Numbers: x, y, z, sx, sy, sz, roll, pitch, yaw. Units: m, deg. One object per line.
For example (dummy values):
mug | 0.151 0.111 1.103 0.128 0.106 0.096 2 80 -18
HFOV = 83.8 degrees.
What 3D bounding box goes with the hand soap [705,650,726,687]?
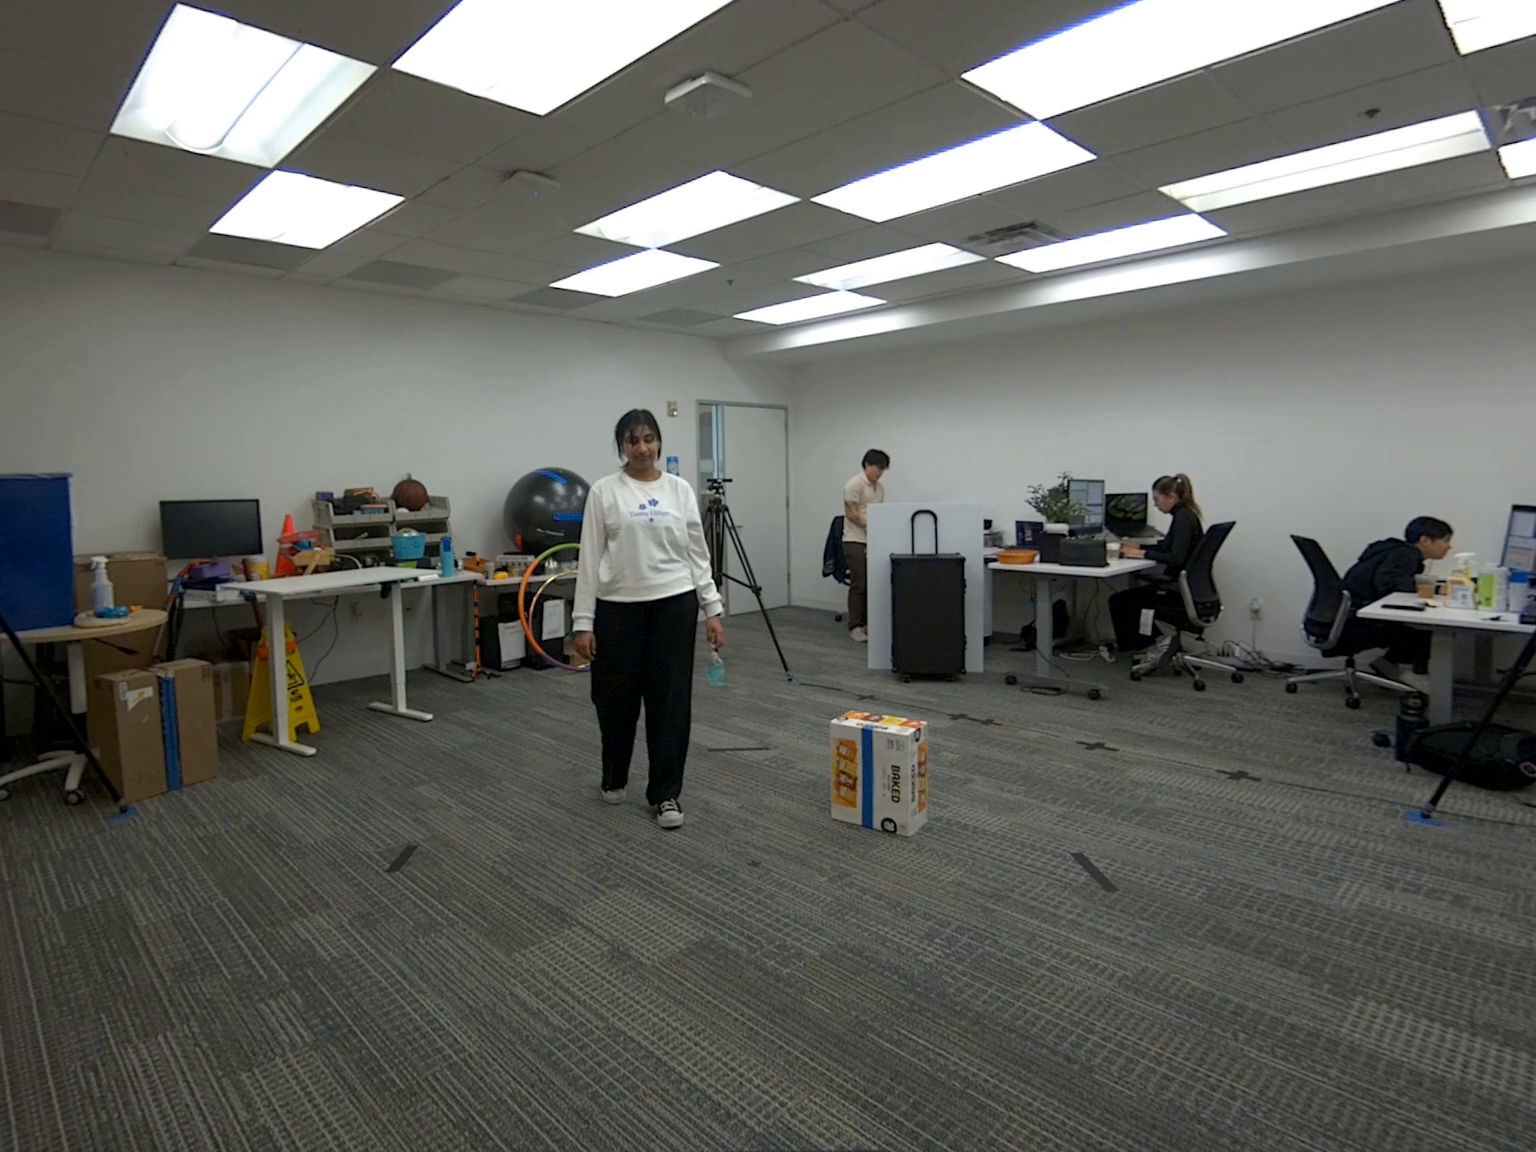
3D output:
hand soap | -0.228 0.367 3.559 0.085 0.167 0.043 -5 3 10
